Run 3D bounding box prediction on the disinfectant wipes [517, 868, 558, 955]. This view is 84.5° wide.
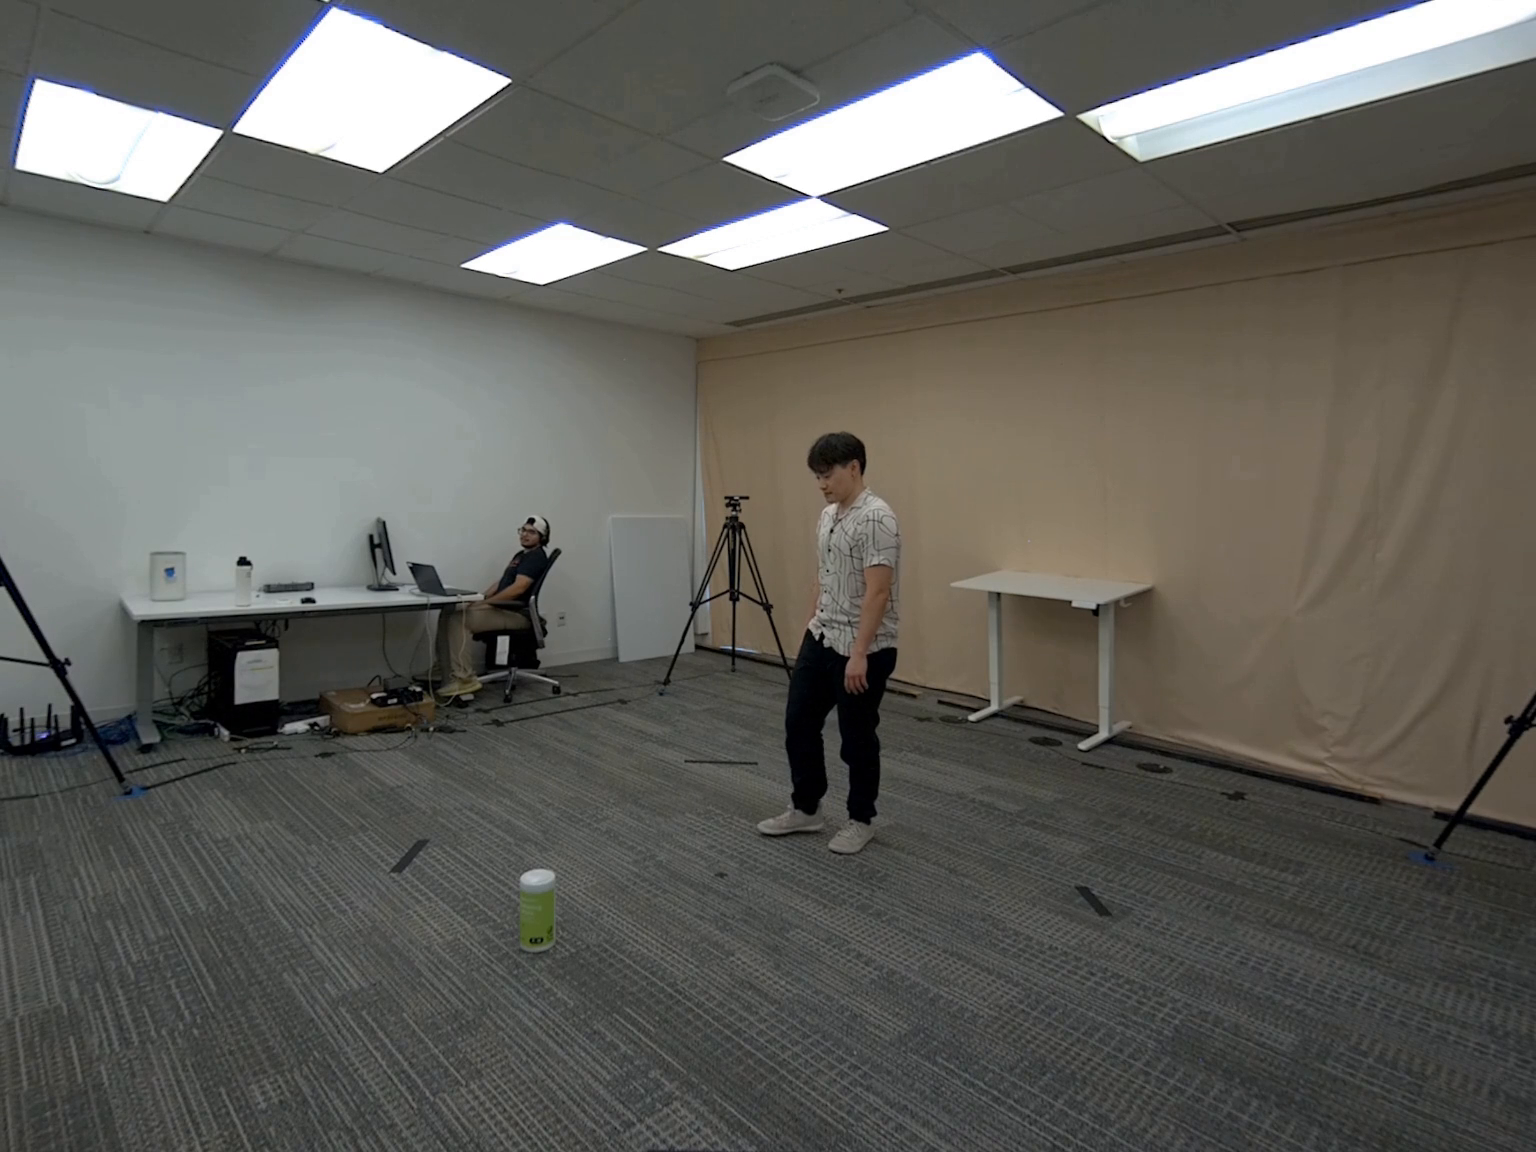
[{"bbox_3d":[-0.718,1.036,2.591,0.118,0.217,0.118,2,4,-2],"label":"disinfectant wipes"}]
